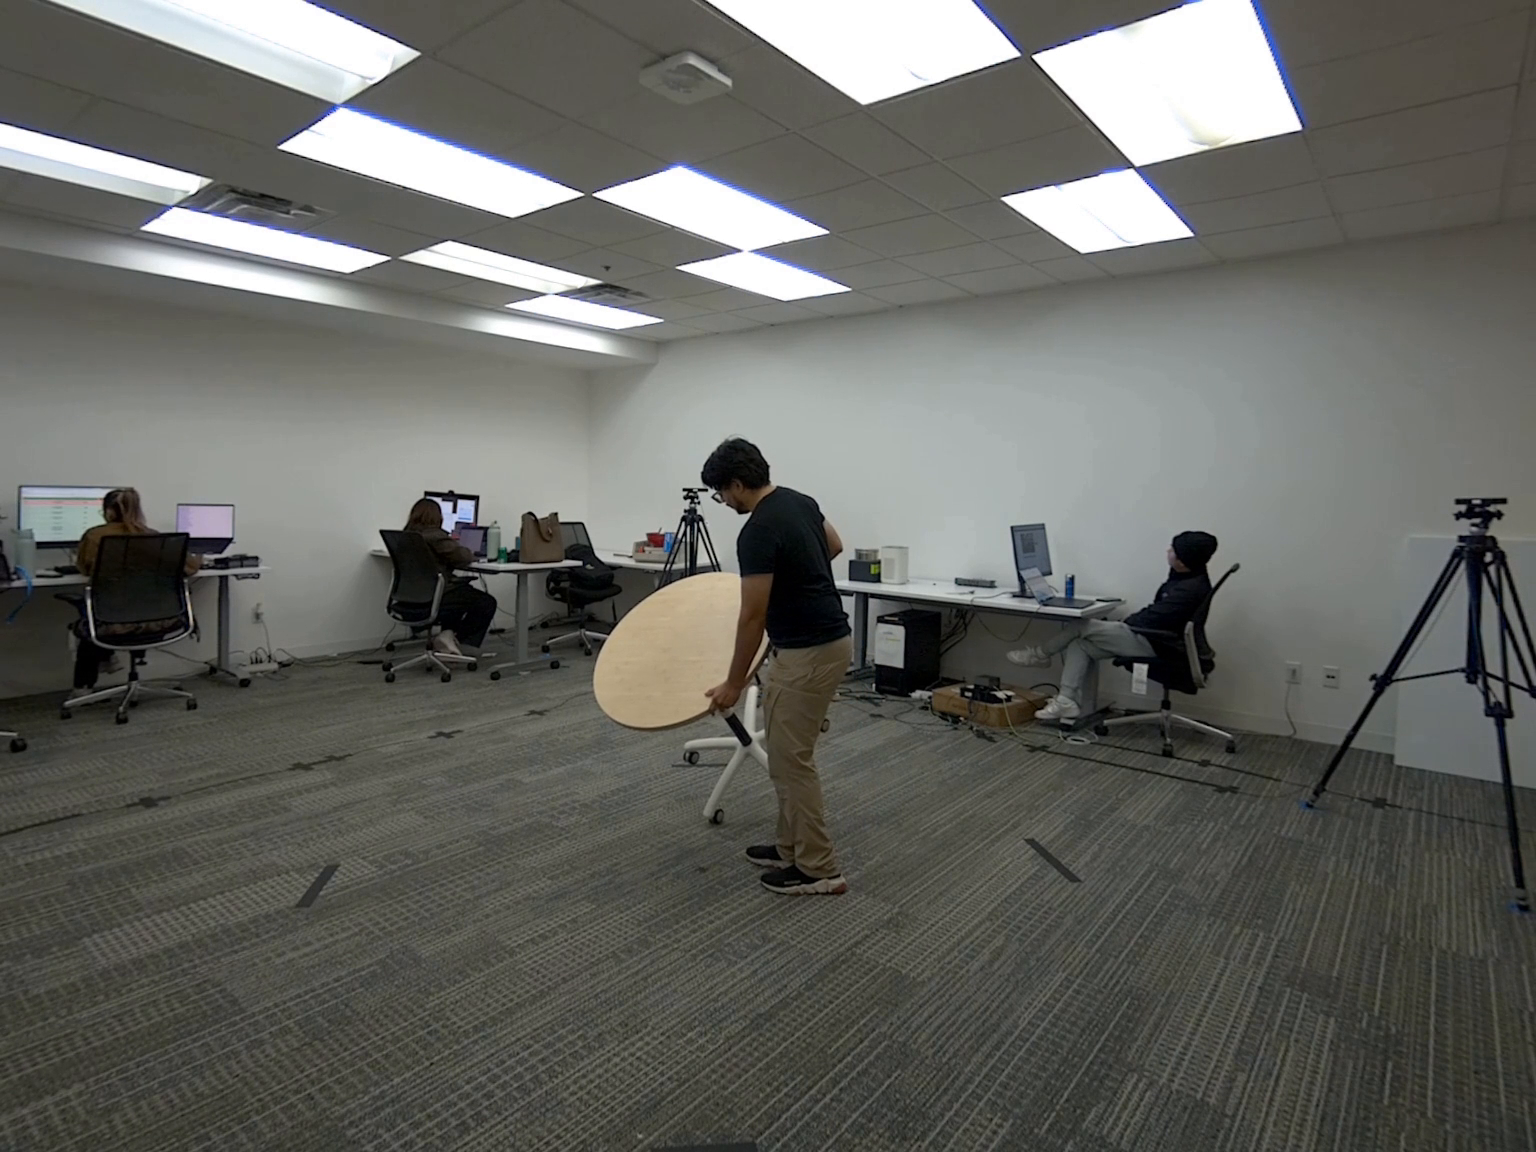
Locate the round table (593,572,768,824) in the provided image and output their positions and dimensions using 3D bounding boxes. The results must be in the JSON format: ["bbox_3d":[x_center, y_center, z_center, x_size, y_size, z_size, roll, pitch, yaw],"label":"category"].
[{"bbox_3d":[-0.195,0.520,3.504,0.792,0.757,0.808,-19,38,13],"label":"round table"}]
